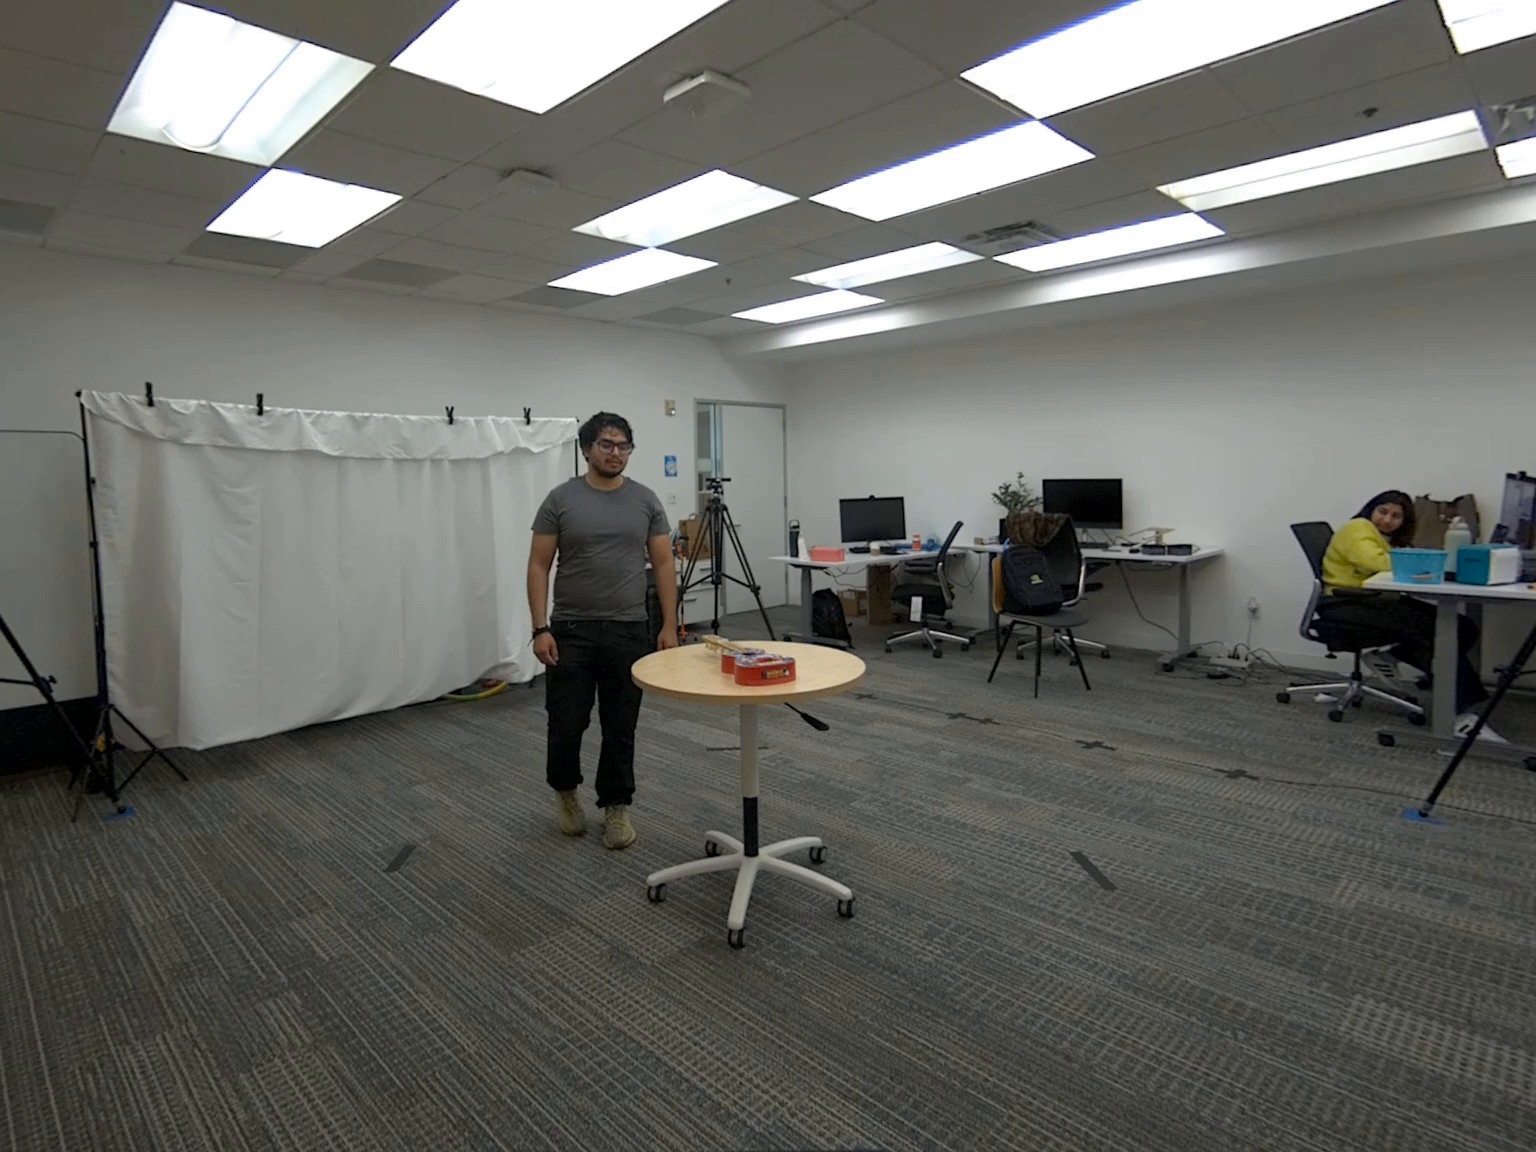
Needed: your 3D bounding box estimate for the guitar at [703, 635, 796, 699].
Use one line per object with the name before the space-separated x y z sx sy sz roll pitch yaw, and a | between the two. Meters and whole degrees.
guitar | -0.064 0.265 2.775 0.190 0.070 0.508 -4 8 -17
